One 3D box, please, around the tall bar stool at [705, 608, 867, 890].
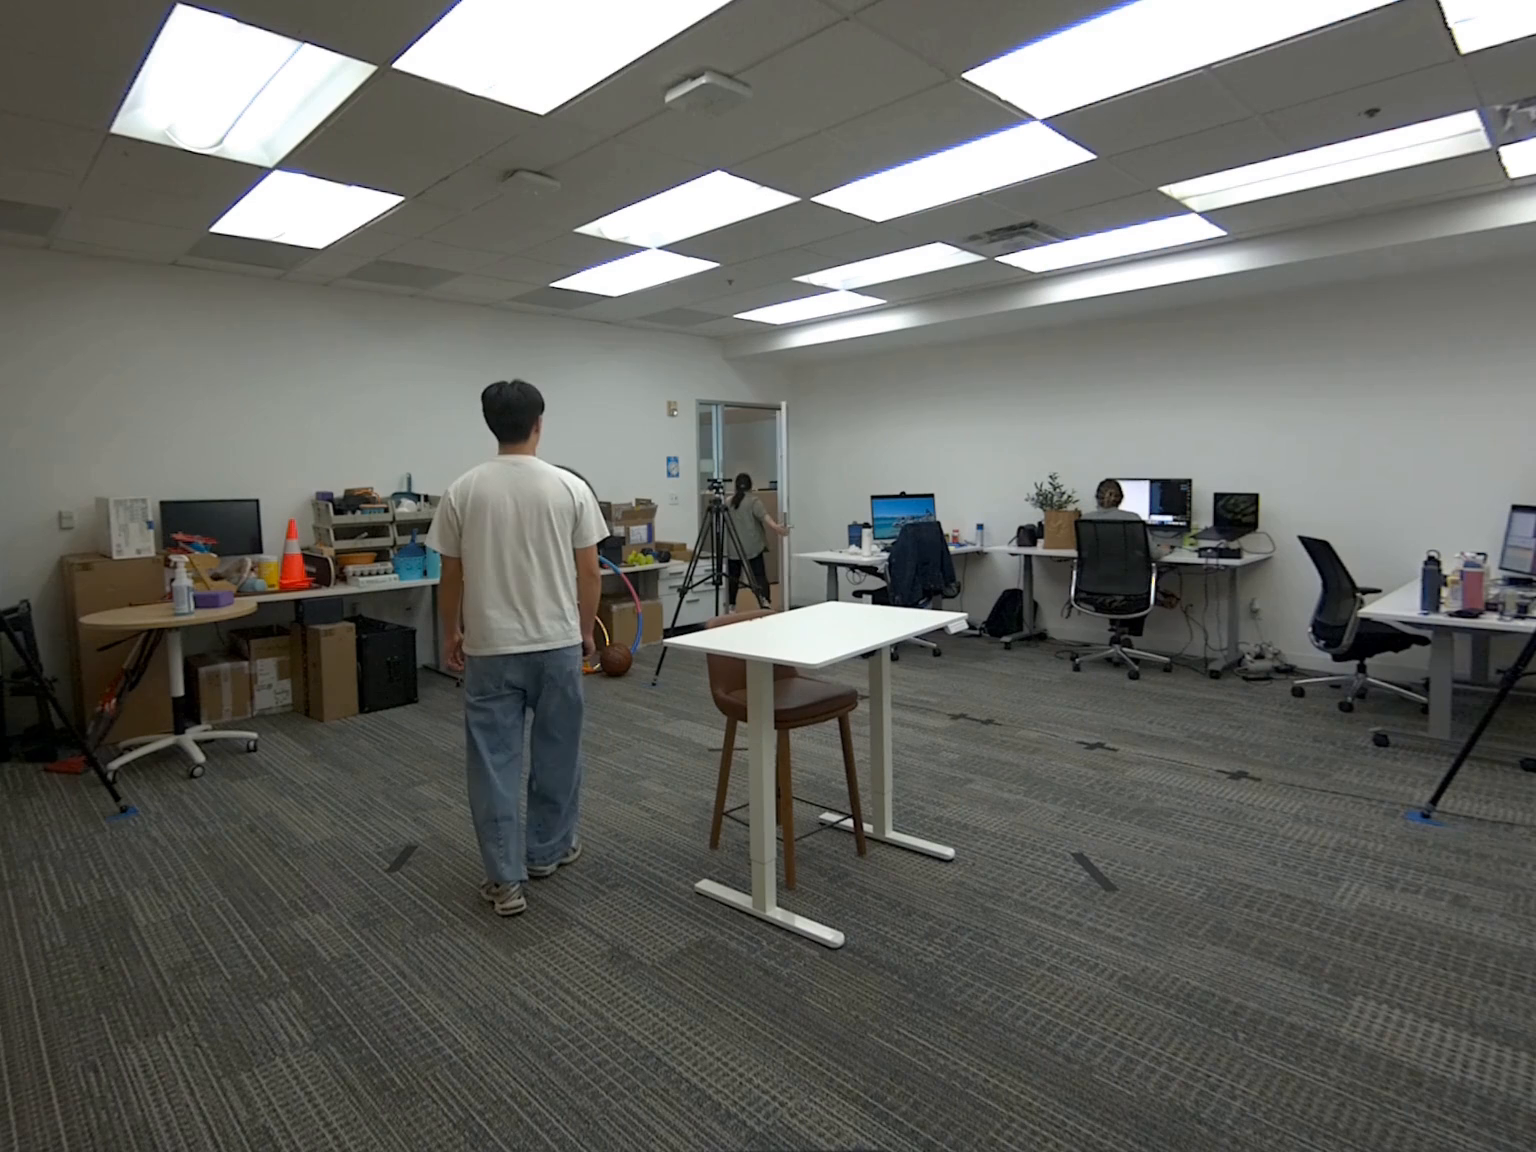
[{"bbox_3d":[0.058,0.601,3.187,0.444,0.888,0.481,-4,4,-43],"label":"tall bar stool"}]
